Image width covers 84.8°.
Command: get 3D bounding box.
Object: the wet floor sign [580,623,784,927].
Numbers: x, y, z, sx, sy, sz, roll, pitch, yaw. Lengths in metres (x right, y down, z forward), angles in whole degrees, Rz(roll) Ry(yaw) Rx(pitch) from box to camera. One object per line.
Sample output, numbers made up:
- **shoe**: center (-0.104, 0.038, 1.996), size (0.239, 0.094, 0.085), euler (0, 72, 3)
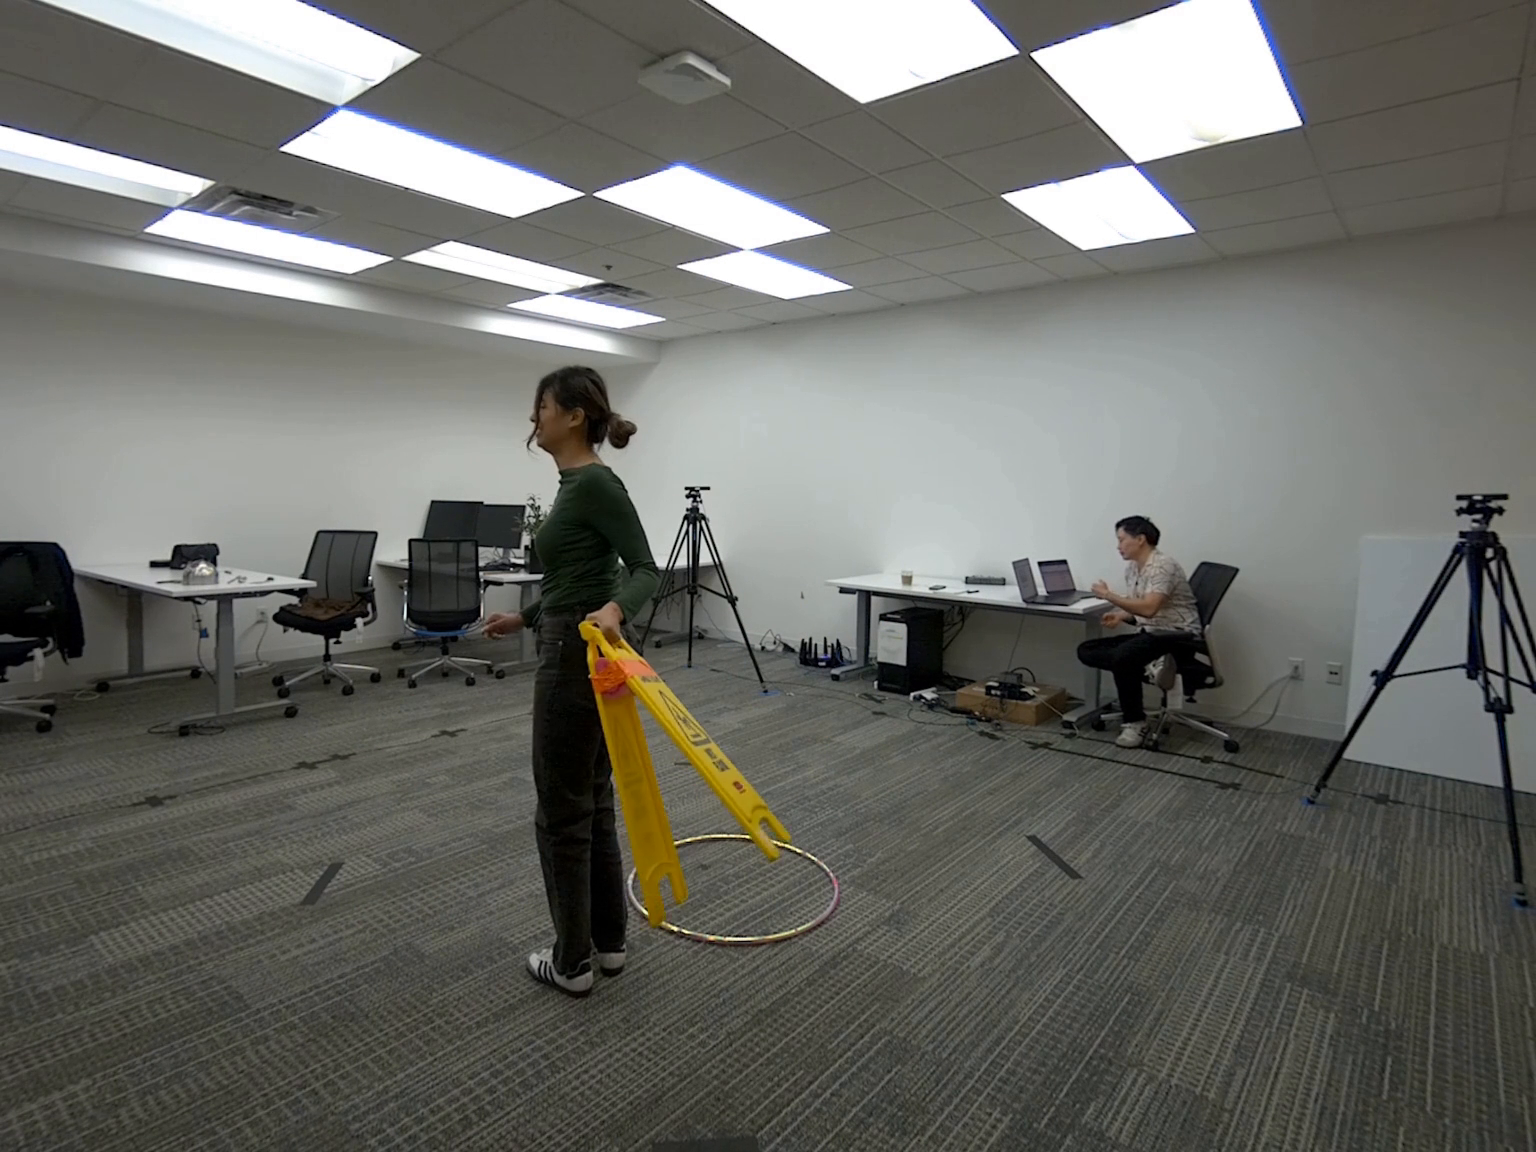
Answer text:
- **wet floor sign**: center (-0.292, 0.399, 1.937), size (0.290, 0.660, 0.275), euler (-32, -15, 7)
